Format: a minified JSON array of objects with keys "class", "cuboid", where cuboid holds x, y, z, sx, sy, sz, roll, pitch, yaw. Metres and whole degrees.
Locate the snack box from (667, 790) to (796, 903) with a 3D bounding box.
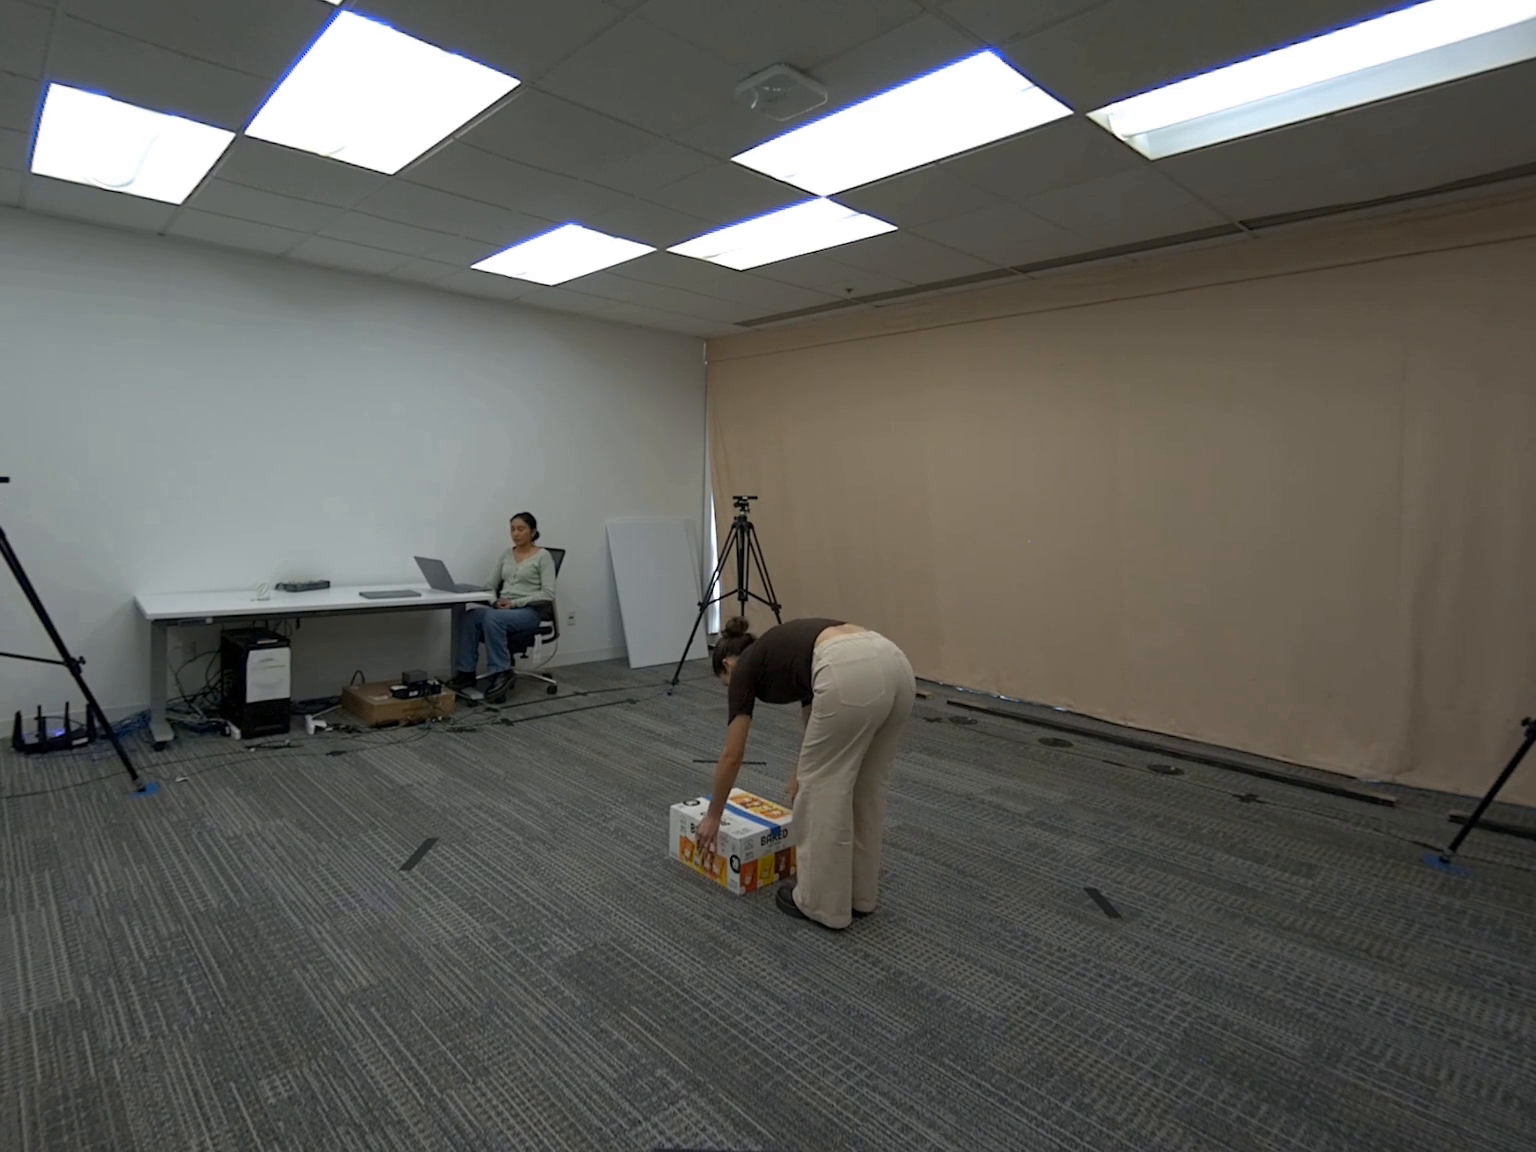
[{"class":"snack box","cuboid":[-0.120,1.002,3.193,0.332,0.205,0.416,-2,6,-42]}]
